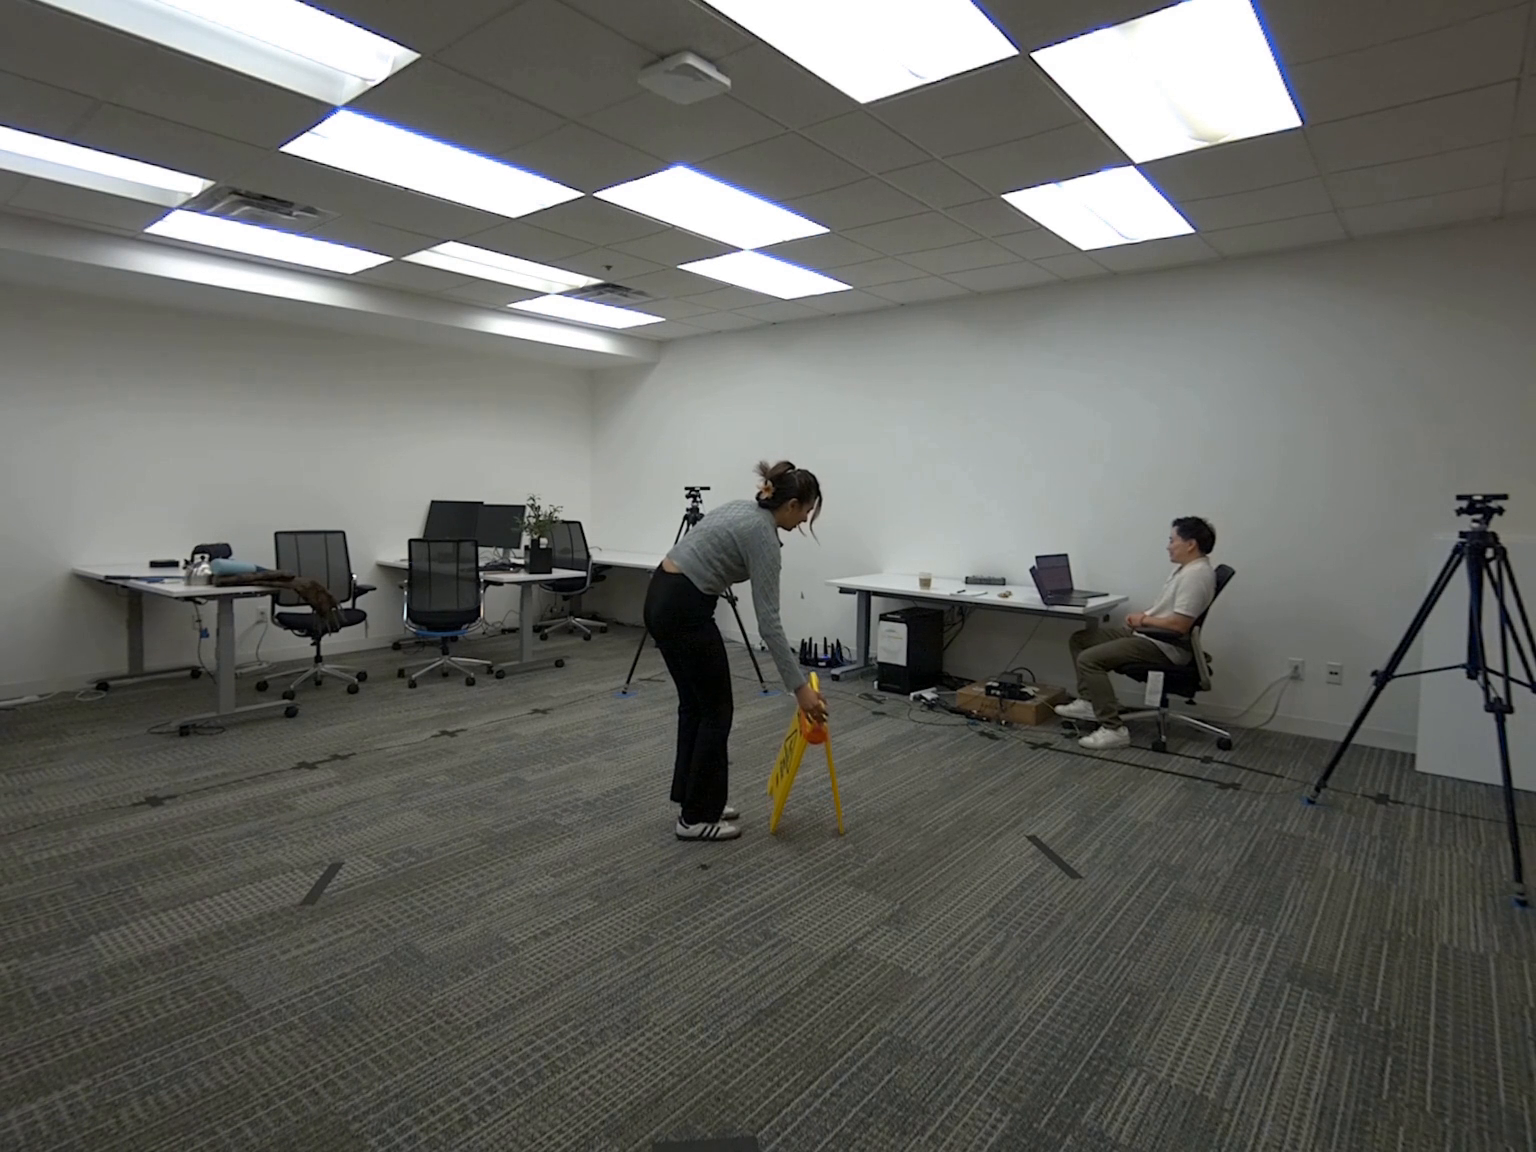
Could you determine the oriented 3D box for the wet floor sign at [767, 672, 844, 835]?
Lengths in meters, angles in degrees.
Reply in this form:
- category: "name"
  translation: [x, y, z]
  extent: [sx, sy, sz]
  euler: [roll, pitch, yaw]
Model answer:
- category: "wet floor sign"
  translation: [0.170, 0.697, 3.412]
  extent: [0.289, 0.631, 0.290]
  euler: [0, 30, -4]
